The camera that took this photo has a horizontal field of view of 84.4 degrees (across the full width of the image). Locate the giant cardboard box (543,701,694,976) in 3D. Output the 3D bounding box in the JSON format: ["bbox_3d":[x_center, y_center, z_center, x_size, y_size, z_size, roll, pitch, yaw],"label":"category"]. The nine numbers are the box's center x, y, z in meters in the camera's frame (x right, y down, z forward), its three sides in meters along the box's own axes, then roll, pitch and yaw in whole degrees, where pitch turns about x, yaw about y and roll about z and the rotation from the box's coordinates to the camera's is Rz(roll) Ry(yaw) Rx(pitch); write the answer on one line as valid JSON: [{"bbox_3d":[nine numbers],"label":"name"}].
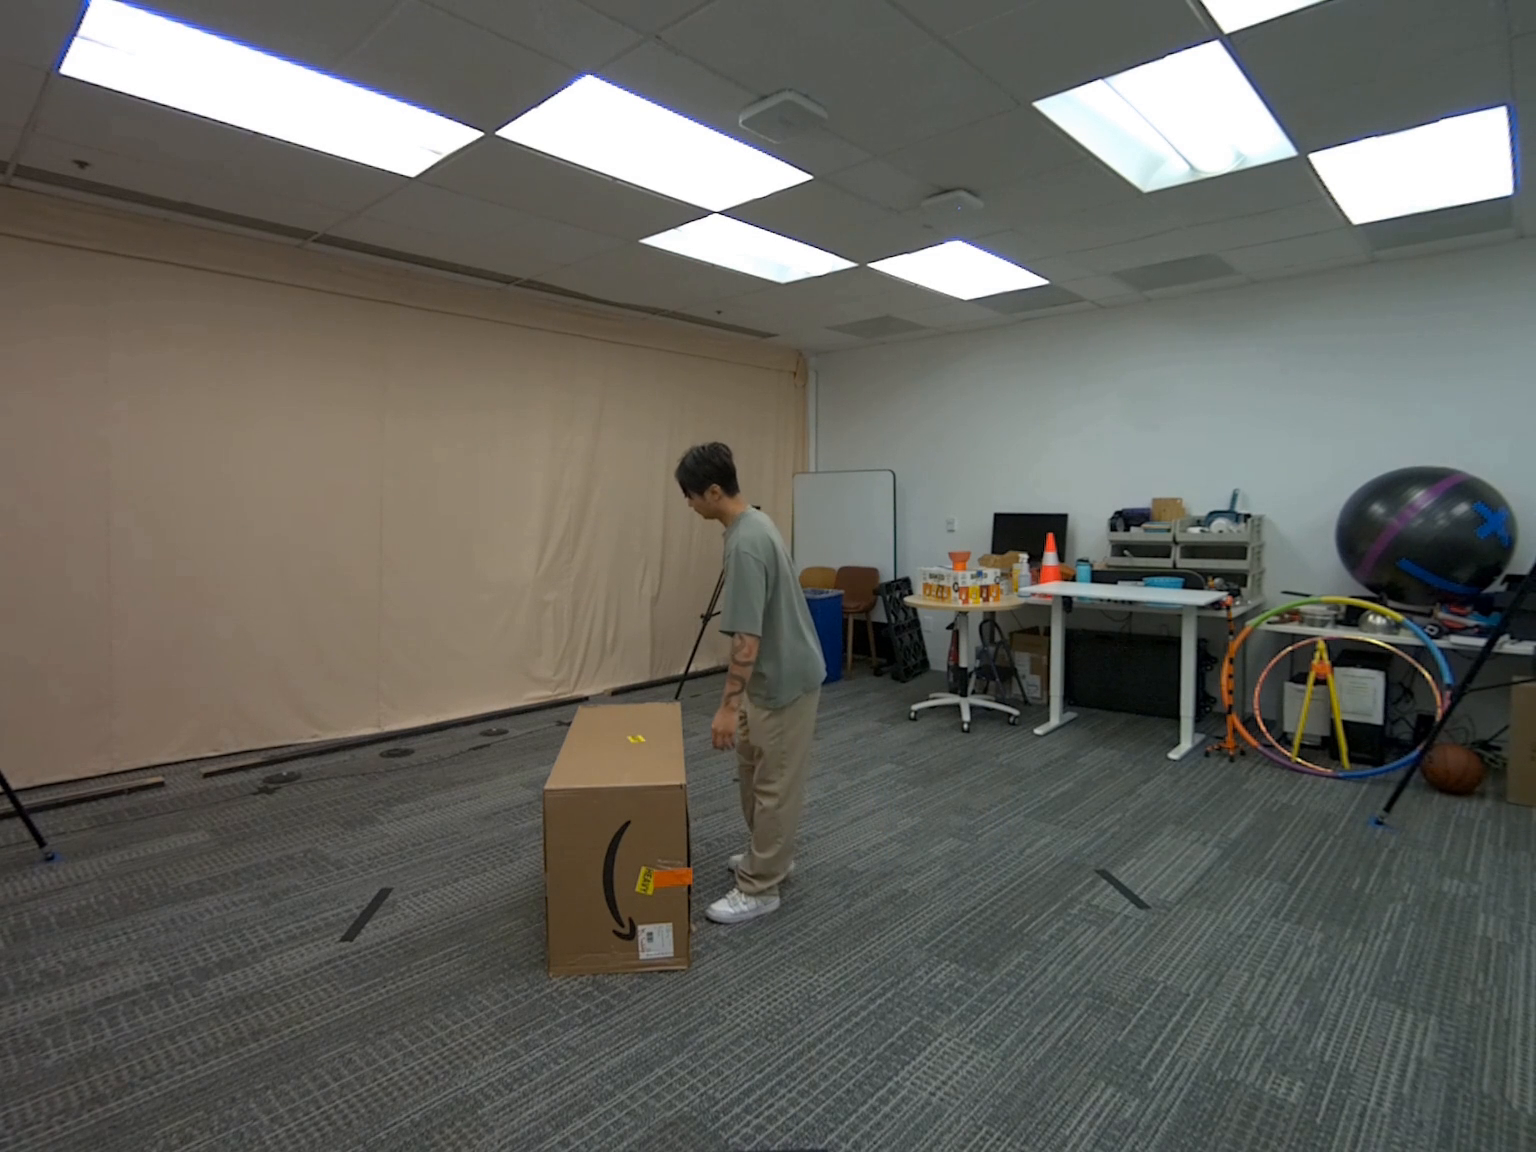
[{"bbox_3d":[-0.506,0.856,3.001,0.424,0.576,1.034,-1,4,-6],"label":"giant cardboard box"}]
